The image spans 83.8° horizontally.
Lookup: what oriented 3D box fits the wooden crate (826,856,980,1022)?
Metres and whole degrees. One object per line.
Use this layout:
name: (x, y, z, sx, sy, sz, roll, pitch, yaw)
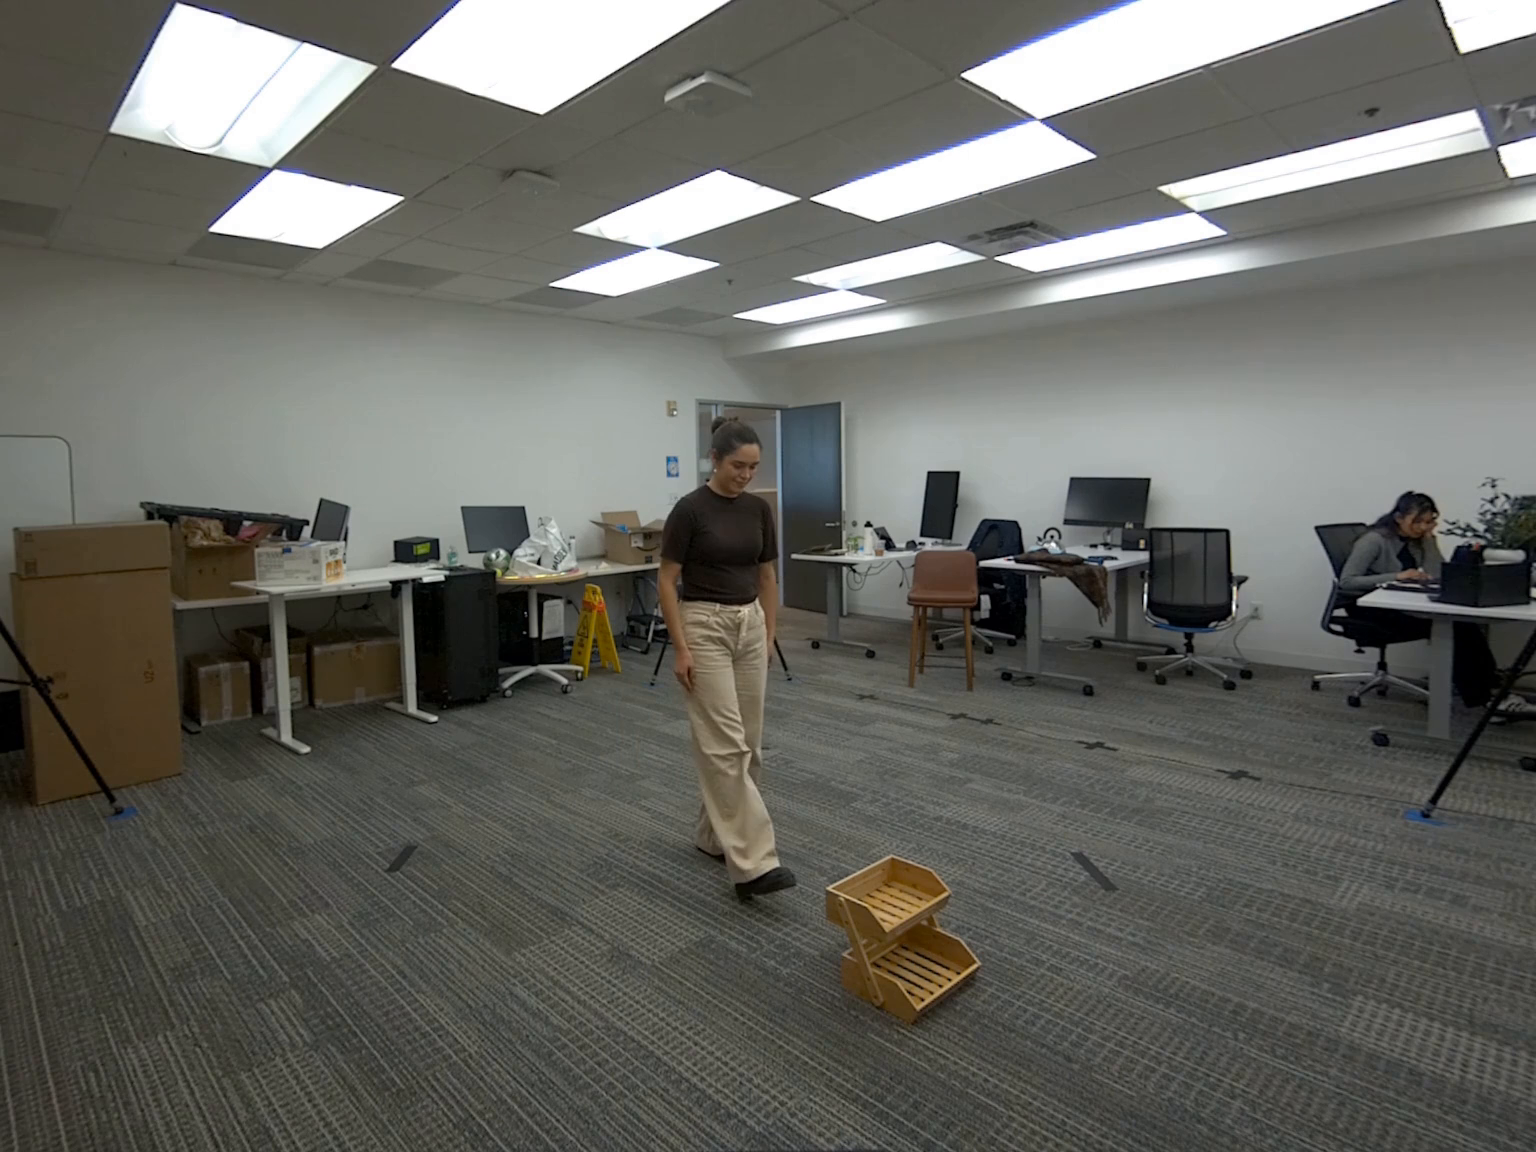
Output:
wooden crate: (0.383, 0.991, 2.363, 0.316, 0.272, 0.311, -6, 7, -44)
